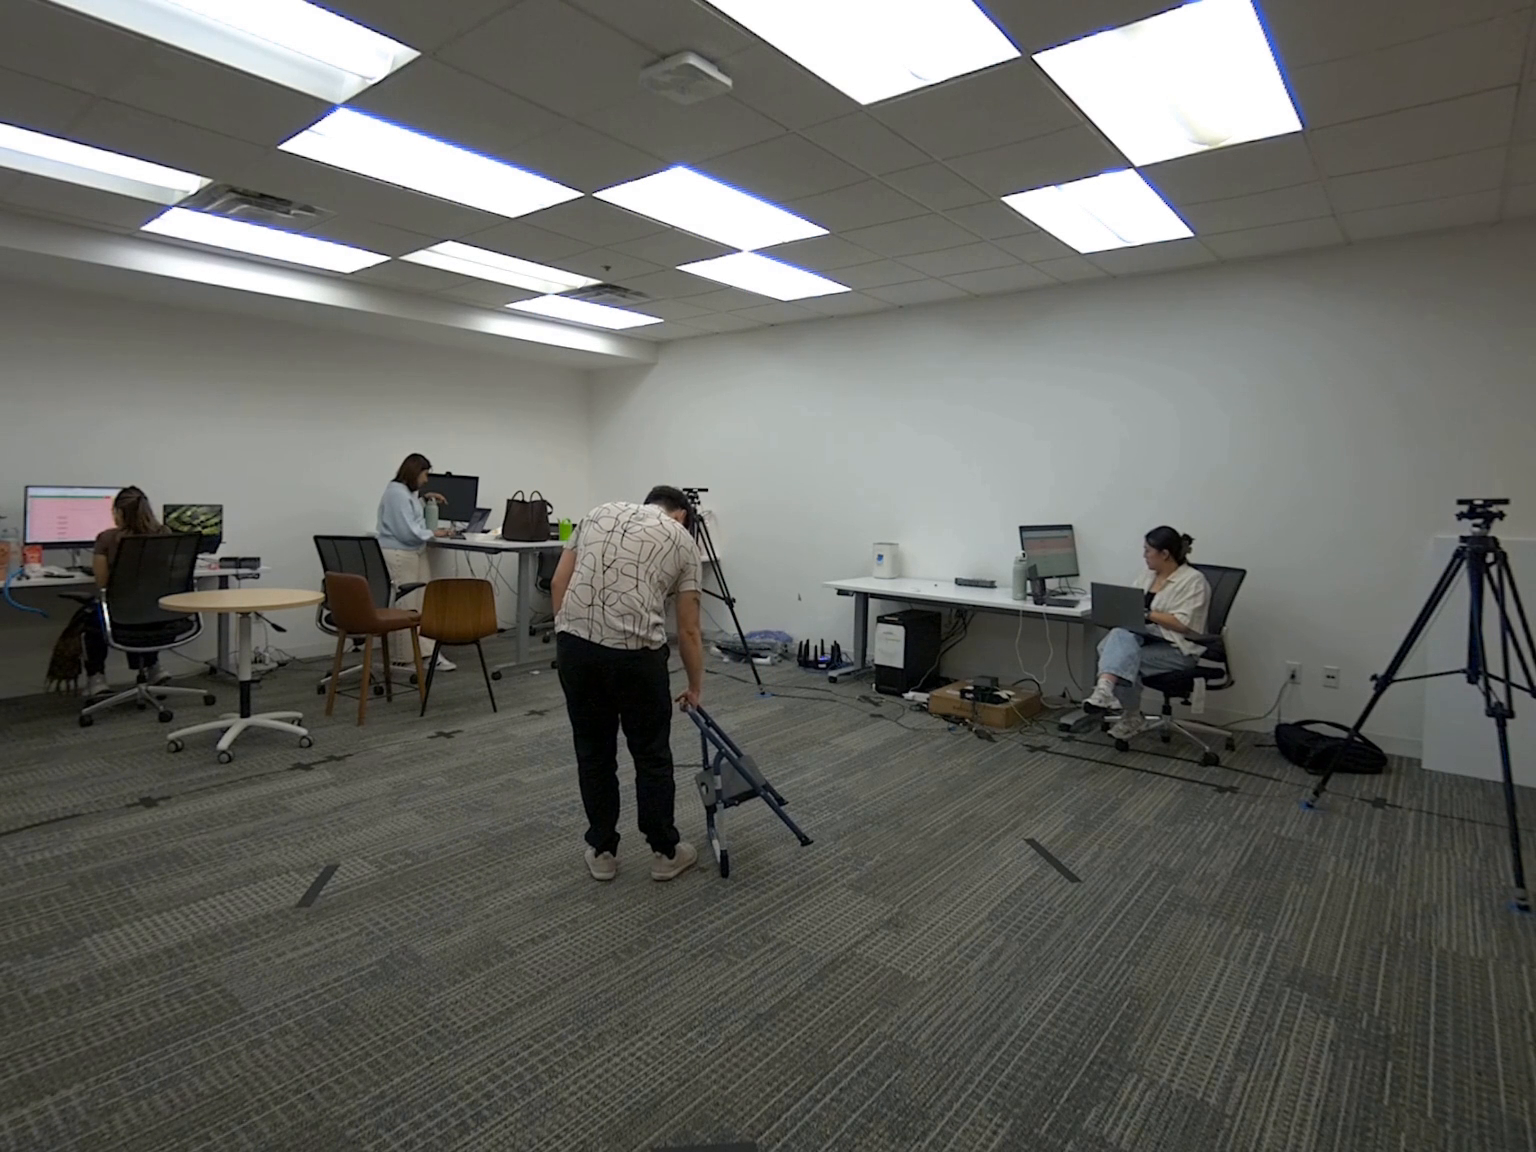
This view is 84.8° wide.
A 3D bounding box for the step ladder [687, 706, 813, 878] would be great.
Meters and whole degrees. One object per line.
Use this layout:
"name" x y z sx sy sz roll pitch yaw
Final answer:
"step ladder" -0.153 0.726 3.236 0.347 0.602 0.435 -20 5 -8
